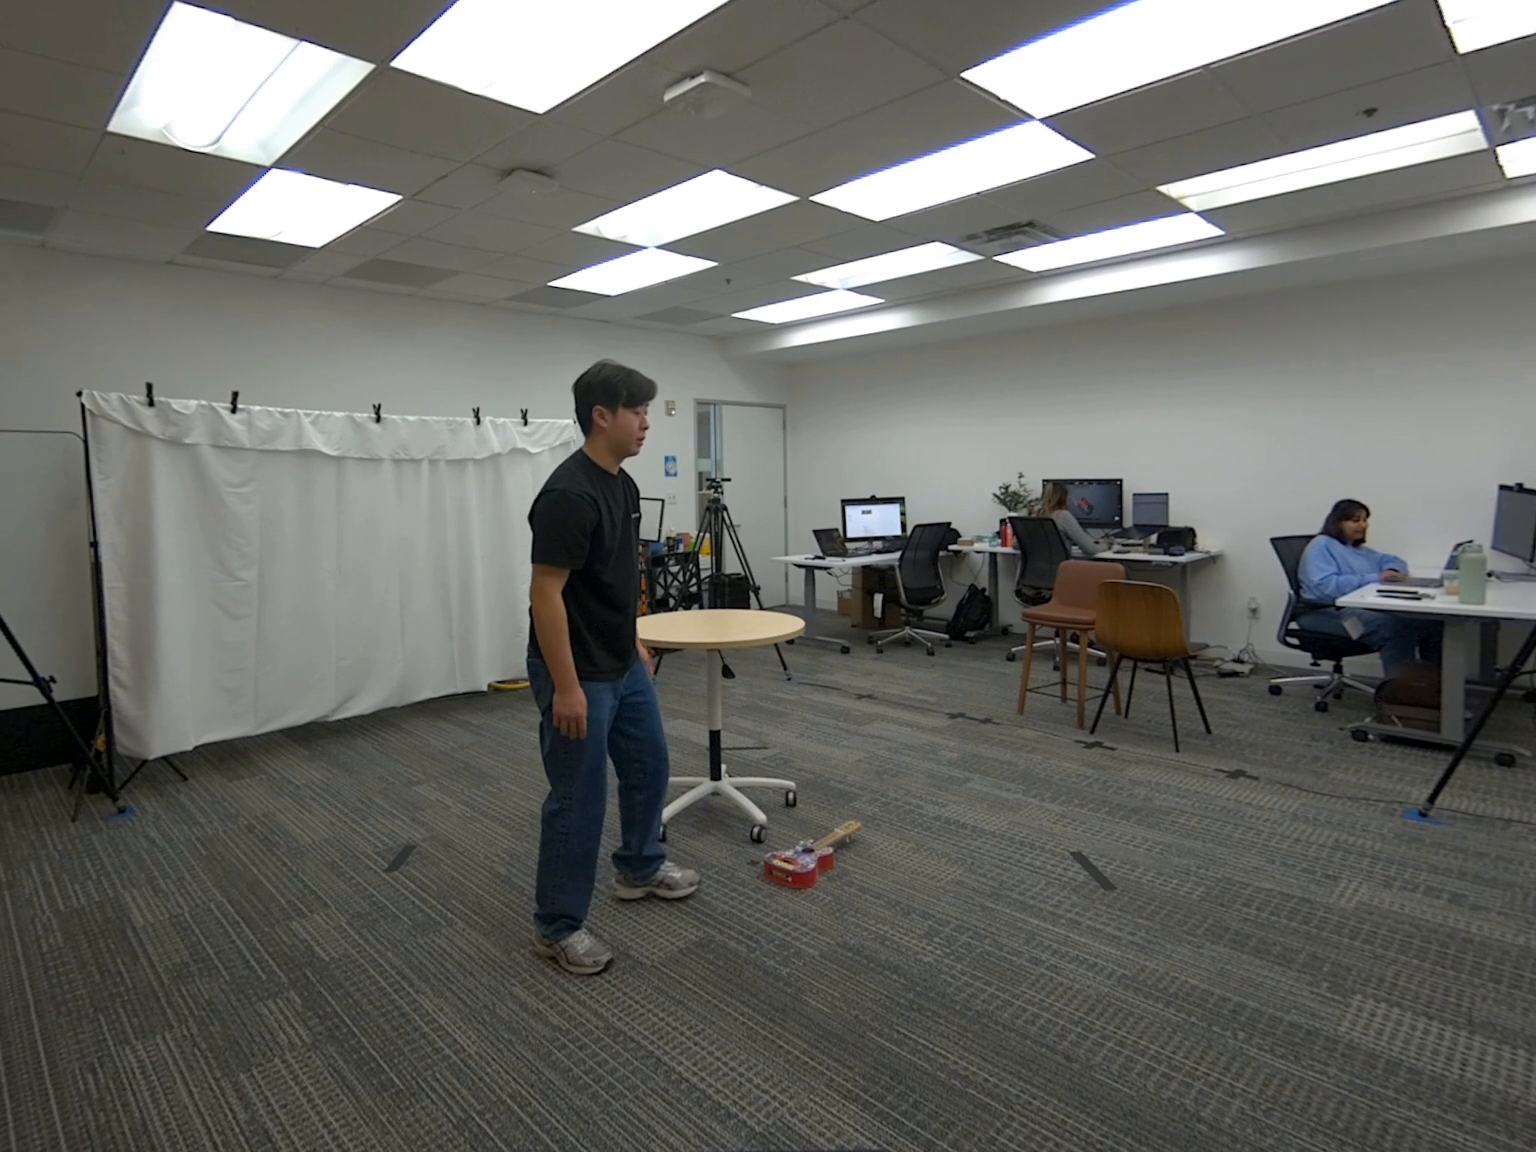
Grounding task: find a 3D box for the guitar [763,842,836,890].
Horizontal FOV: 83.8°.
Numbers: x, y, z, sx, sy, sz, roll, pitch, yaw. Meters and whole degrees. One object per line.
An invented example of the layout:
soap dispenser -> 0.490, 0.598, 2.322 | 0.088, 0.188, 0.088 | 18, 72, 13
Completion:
guitar -> 0.216, 1.005, 3.100 | 0.485, 0.070, 0.199 | -7, 8, -41
